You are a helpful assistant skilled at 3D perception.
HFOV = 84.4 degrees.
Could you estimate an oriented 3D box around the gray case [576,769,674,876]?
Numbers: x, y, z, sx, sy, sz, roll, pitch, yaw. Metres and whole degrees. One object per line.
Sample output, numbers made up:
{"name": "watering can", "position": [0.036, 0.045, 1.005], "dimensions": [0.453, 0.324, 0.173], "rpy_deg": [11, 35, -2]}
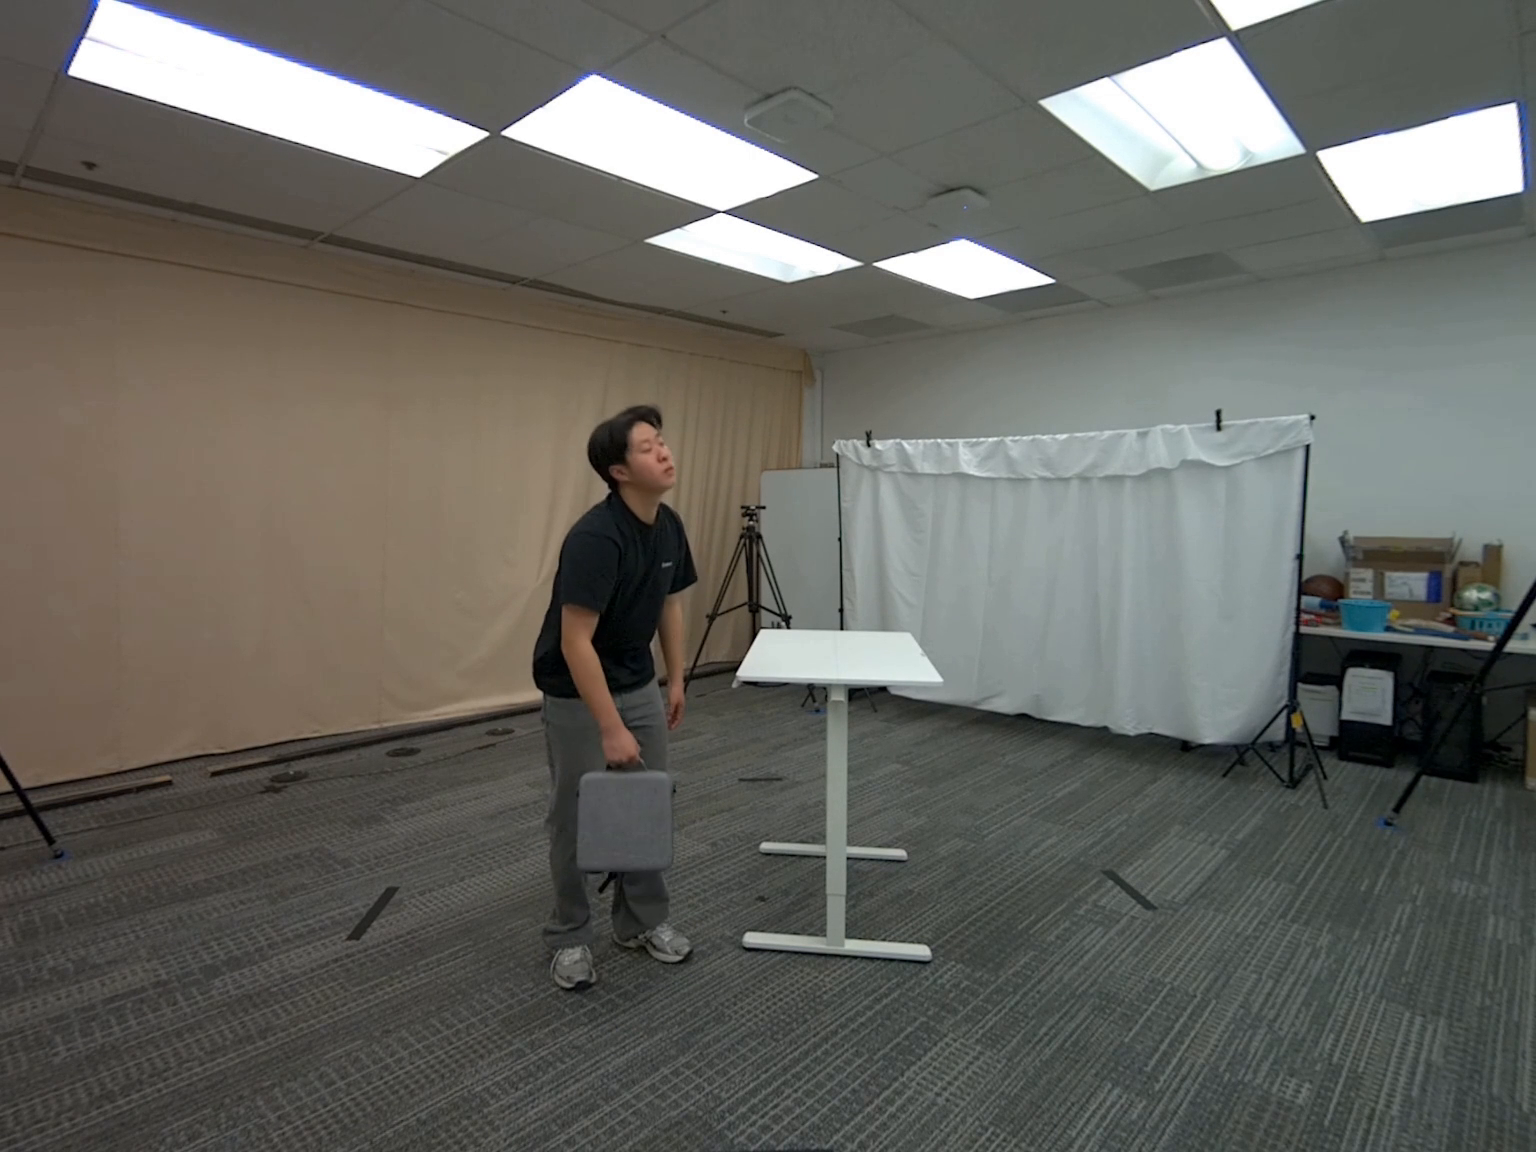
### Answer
{"name": "gray case", "position": [-0.374, 0.650, 2.263], "dimensions": [0.263, 0.289, 0.102], "rpy_deg": [-1, -13, -1]}
